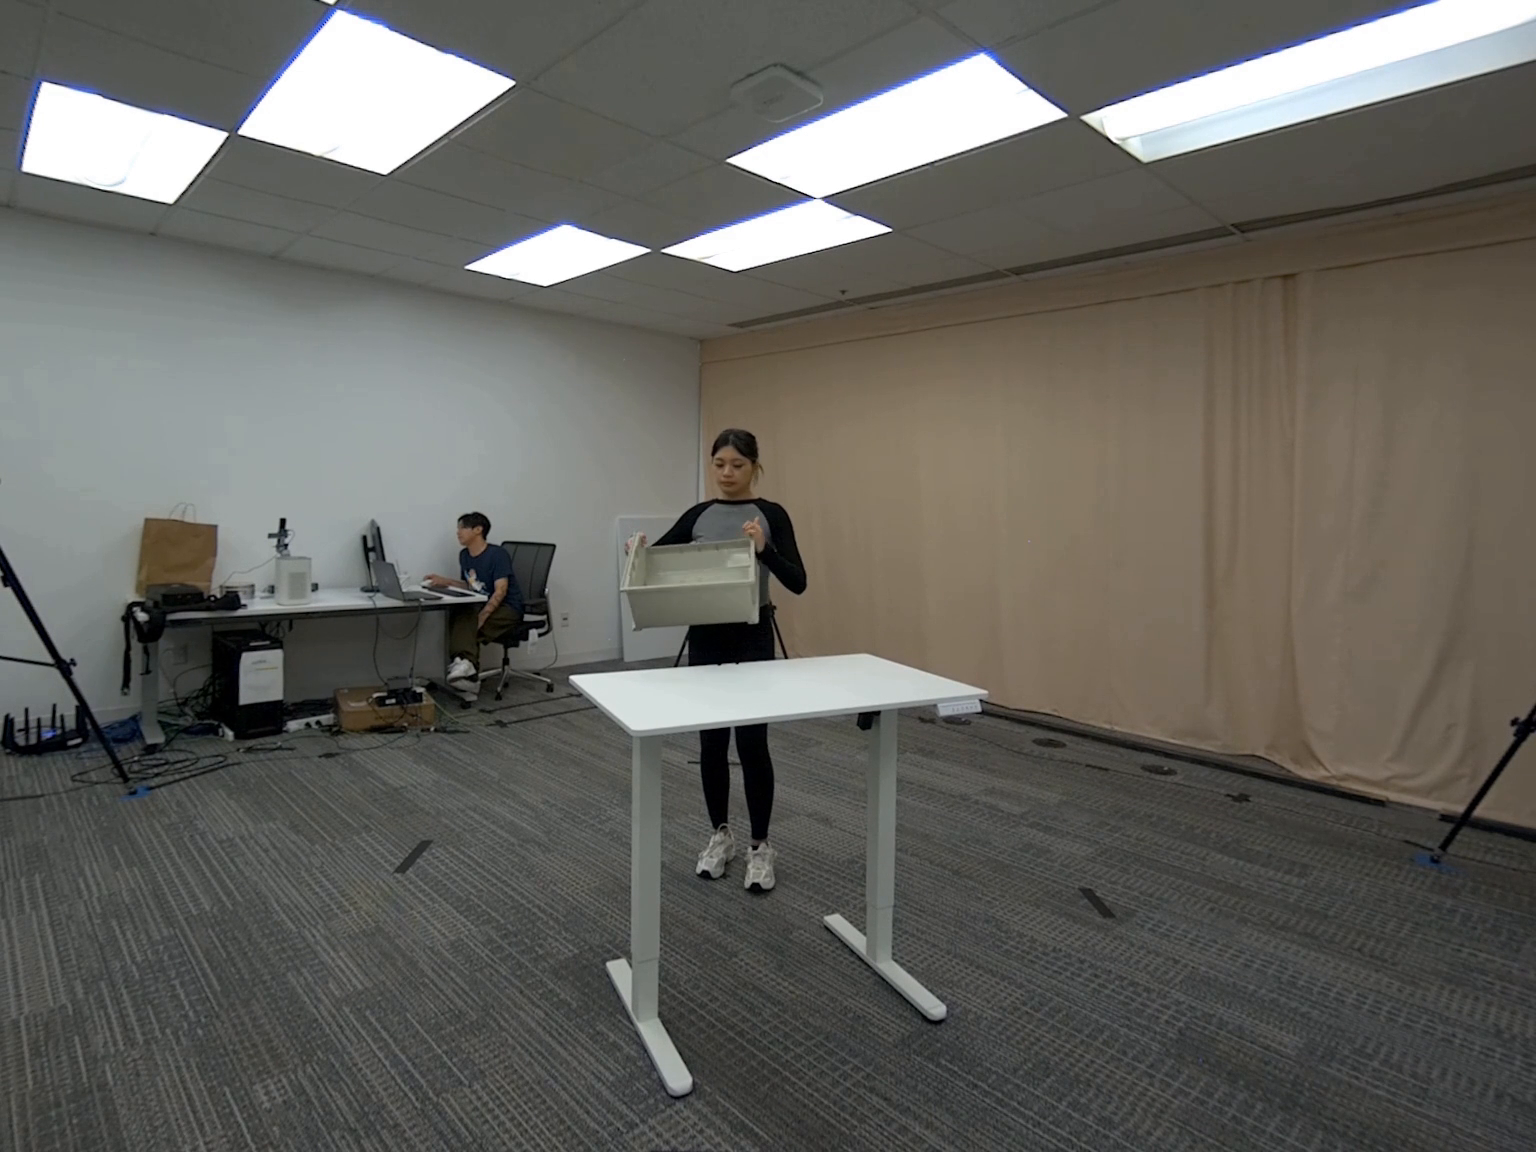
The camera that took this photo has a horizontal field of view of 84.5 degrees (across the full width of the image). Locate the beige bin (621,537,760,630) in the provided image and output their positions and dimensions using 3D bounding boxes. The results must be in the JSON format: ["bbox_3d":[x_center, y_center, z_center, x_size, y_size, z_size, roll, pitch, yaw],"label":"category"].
[{"bbox_3d":[-0.250,0.006,2.801,0.424,0.184,0.385,-7,36,5],"label":"beige bin"}]
